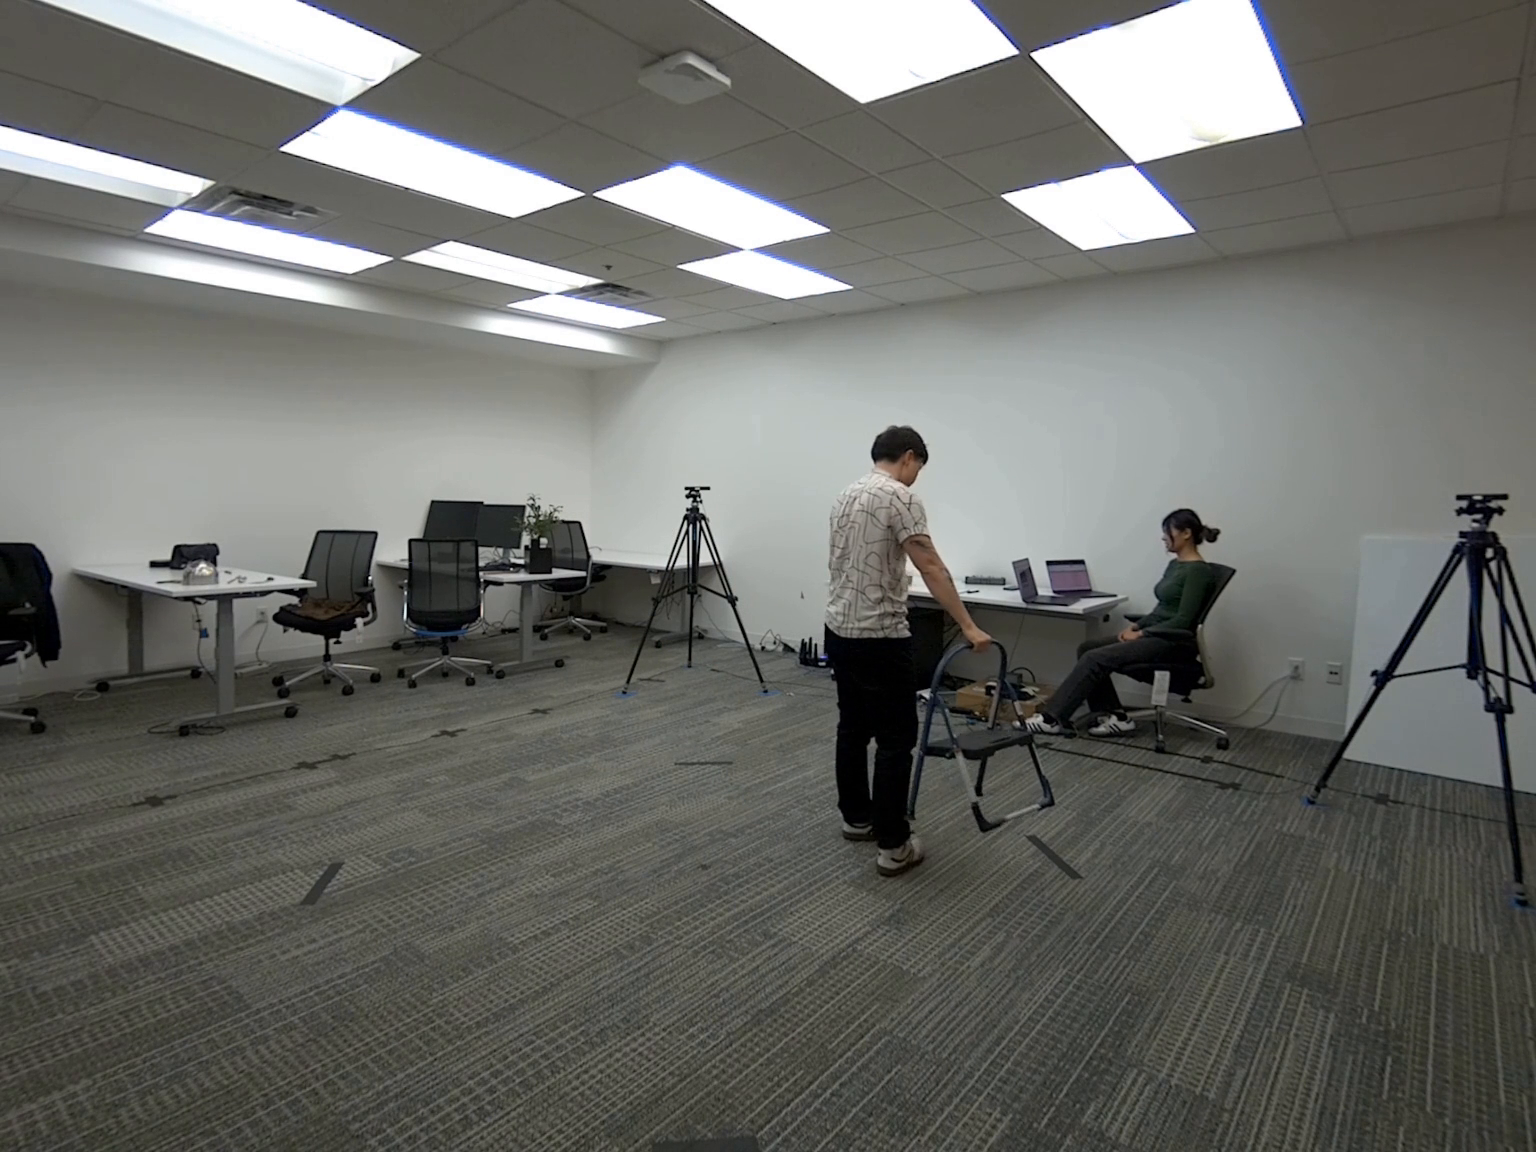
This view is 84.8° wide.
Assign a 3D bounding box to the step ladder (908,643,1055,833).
[{"bbox_3d":[0.715,0.541,3.046,0.418,0.609,0.358,-3,-5,-39],"label":"step ladder"}]
